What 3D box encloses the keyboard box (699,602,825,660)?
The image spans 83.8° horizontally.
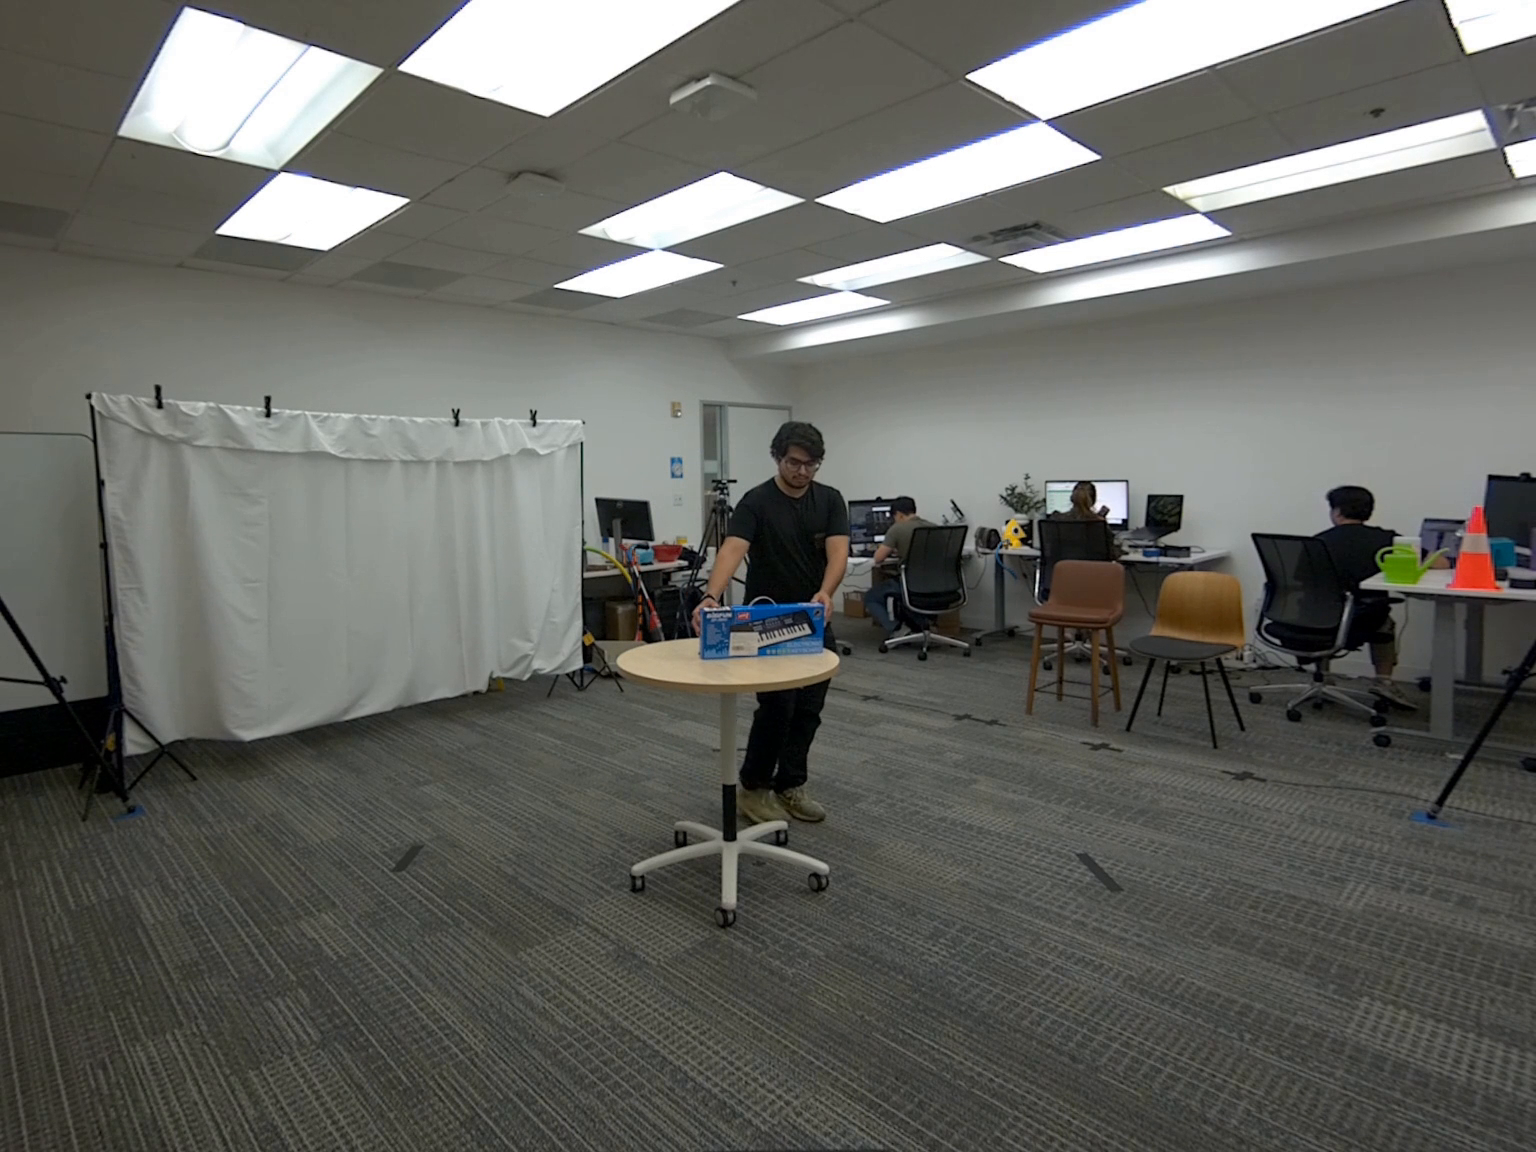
[{"bbox_3d":[-0.023,0.196,2.985,0.431,0.175,0.060,-2,7,-14],"label":"keyboard box"}]
